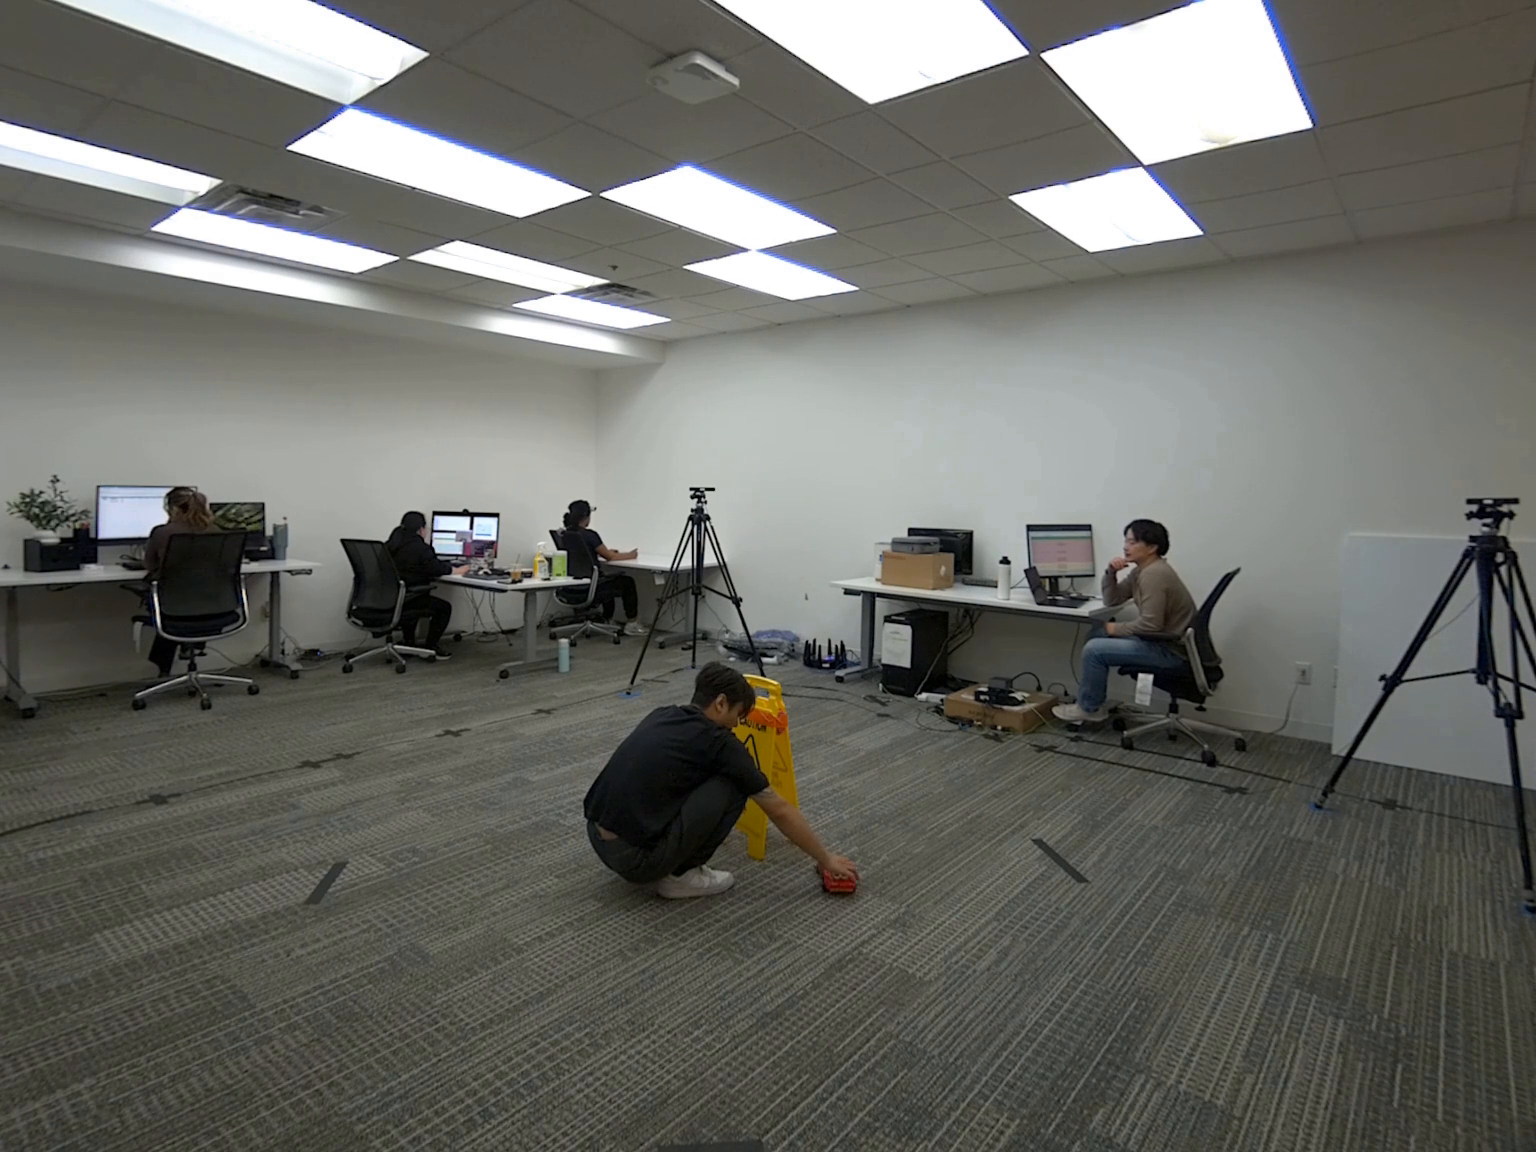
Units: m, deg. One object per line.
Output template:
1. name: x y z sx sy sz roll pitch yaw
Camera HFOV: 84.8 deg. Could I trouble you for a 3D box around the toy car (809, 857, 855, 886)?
1. toy car: 0.224 1.060 3.020 0.130 0.084 0.251 3 -16 -2
